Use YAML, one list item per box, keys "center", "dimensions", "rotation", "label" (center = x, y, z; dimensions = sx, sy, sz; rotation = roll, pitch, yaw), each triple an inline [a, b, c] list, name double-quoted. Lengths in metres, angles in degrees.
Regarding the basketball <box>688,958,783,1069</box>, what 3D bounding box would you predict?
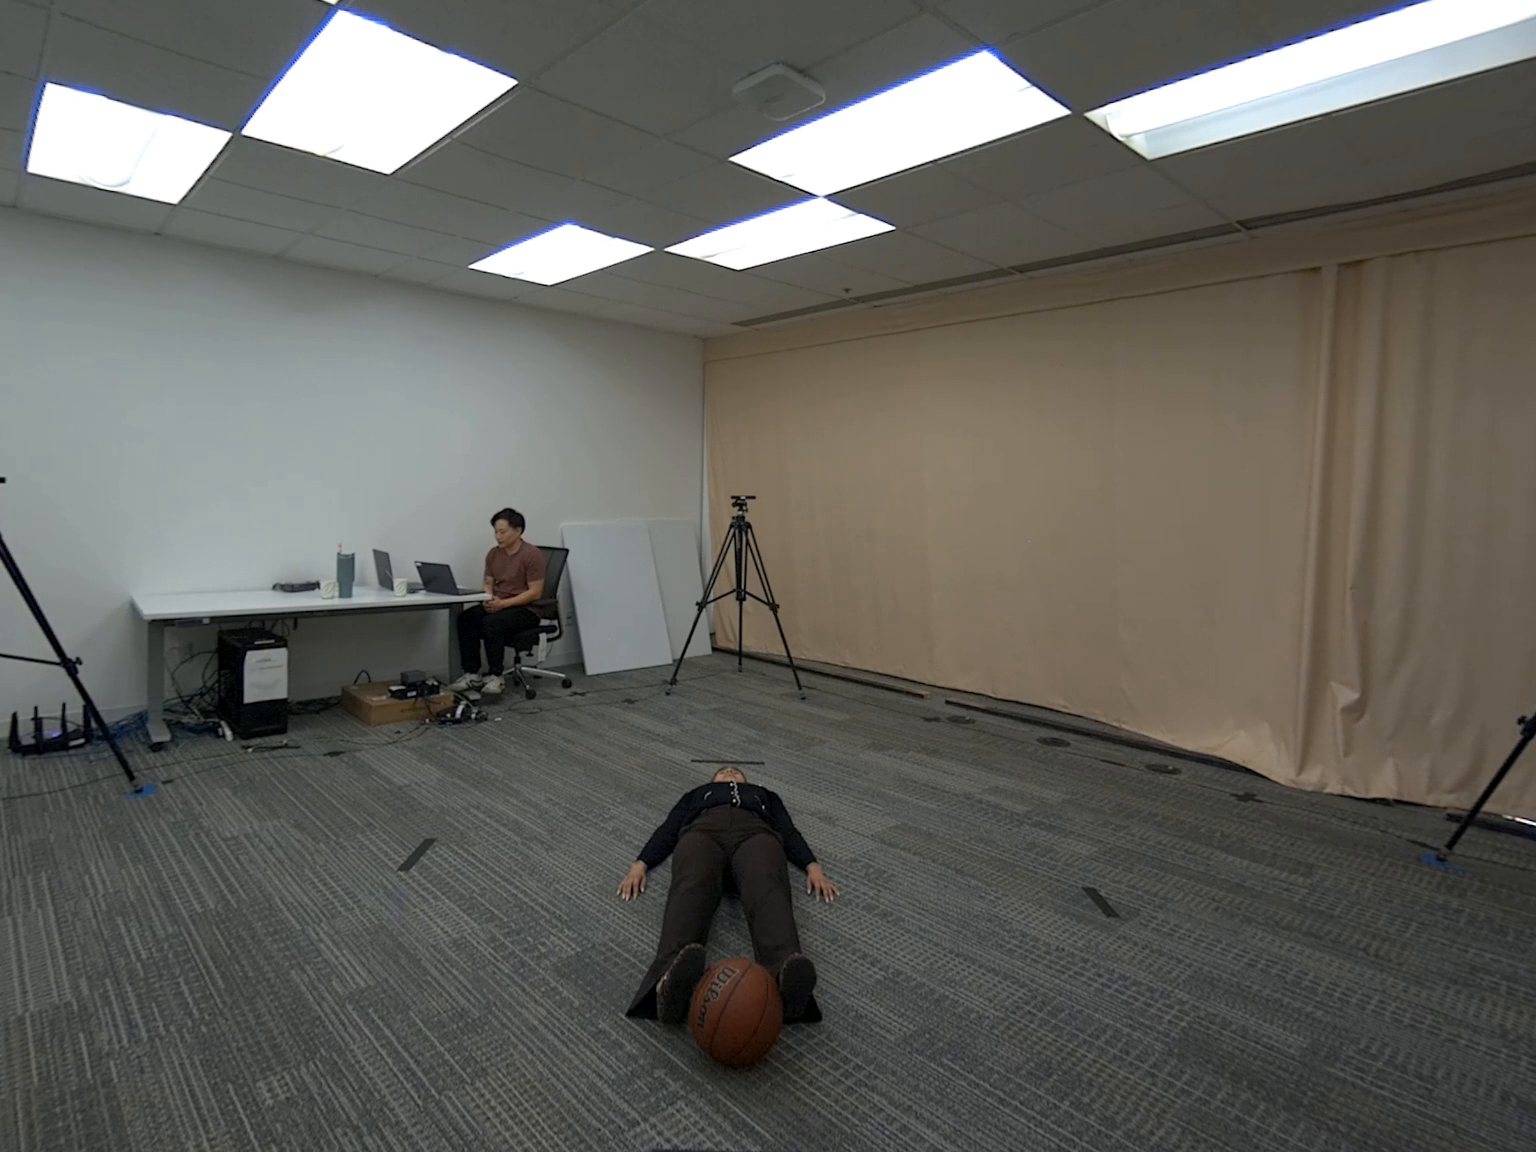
- center: [-0.088, 1.074, 2.099]
  dimensions: [0.235, 0.235, 0.237]
  rotation: [4, 5, -2]
  label: "basketball"
